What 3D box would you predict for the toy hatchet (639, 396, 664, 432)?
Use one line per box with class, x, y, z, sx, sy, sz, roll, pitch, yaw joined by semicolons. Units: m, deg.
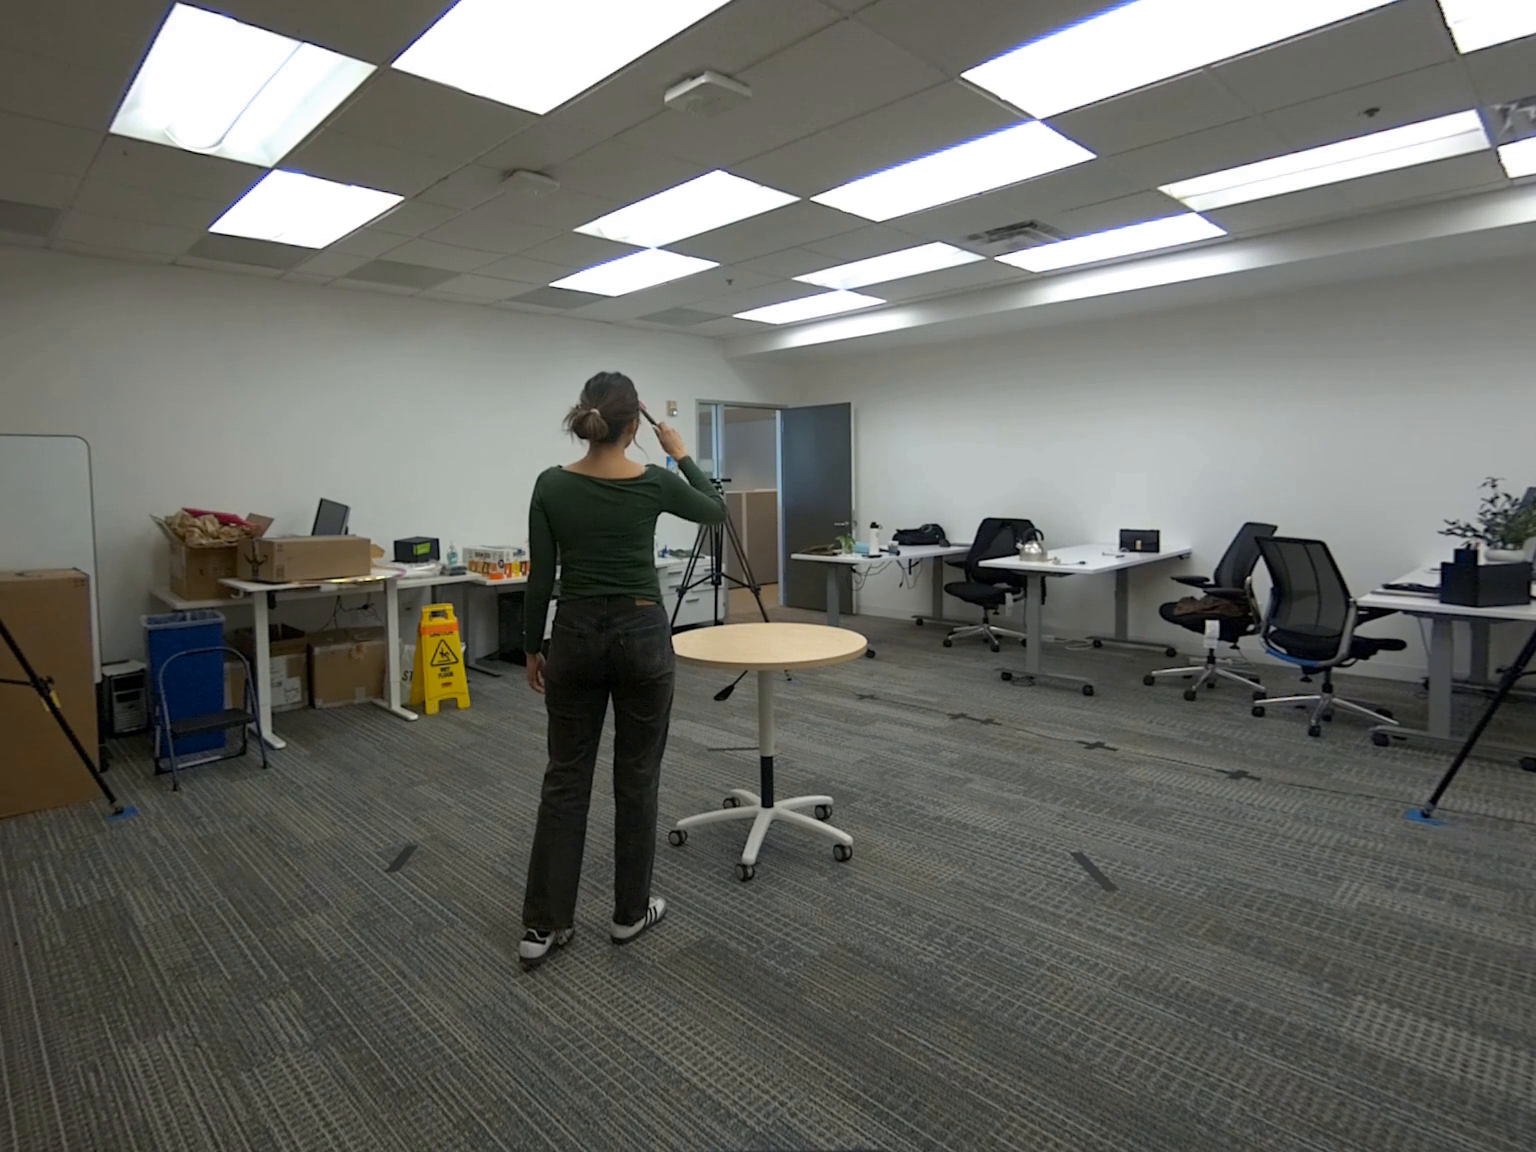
toy hatchet;-0.385;-0.522;2.870;0.029;0.262;0.135;-40;24;5
